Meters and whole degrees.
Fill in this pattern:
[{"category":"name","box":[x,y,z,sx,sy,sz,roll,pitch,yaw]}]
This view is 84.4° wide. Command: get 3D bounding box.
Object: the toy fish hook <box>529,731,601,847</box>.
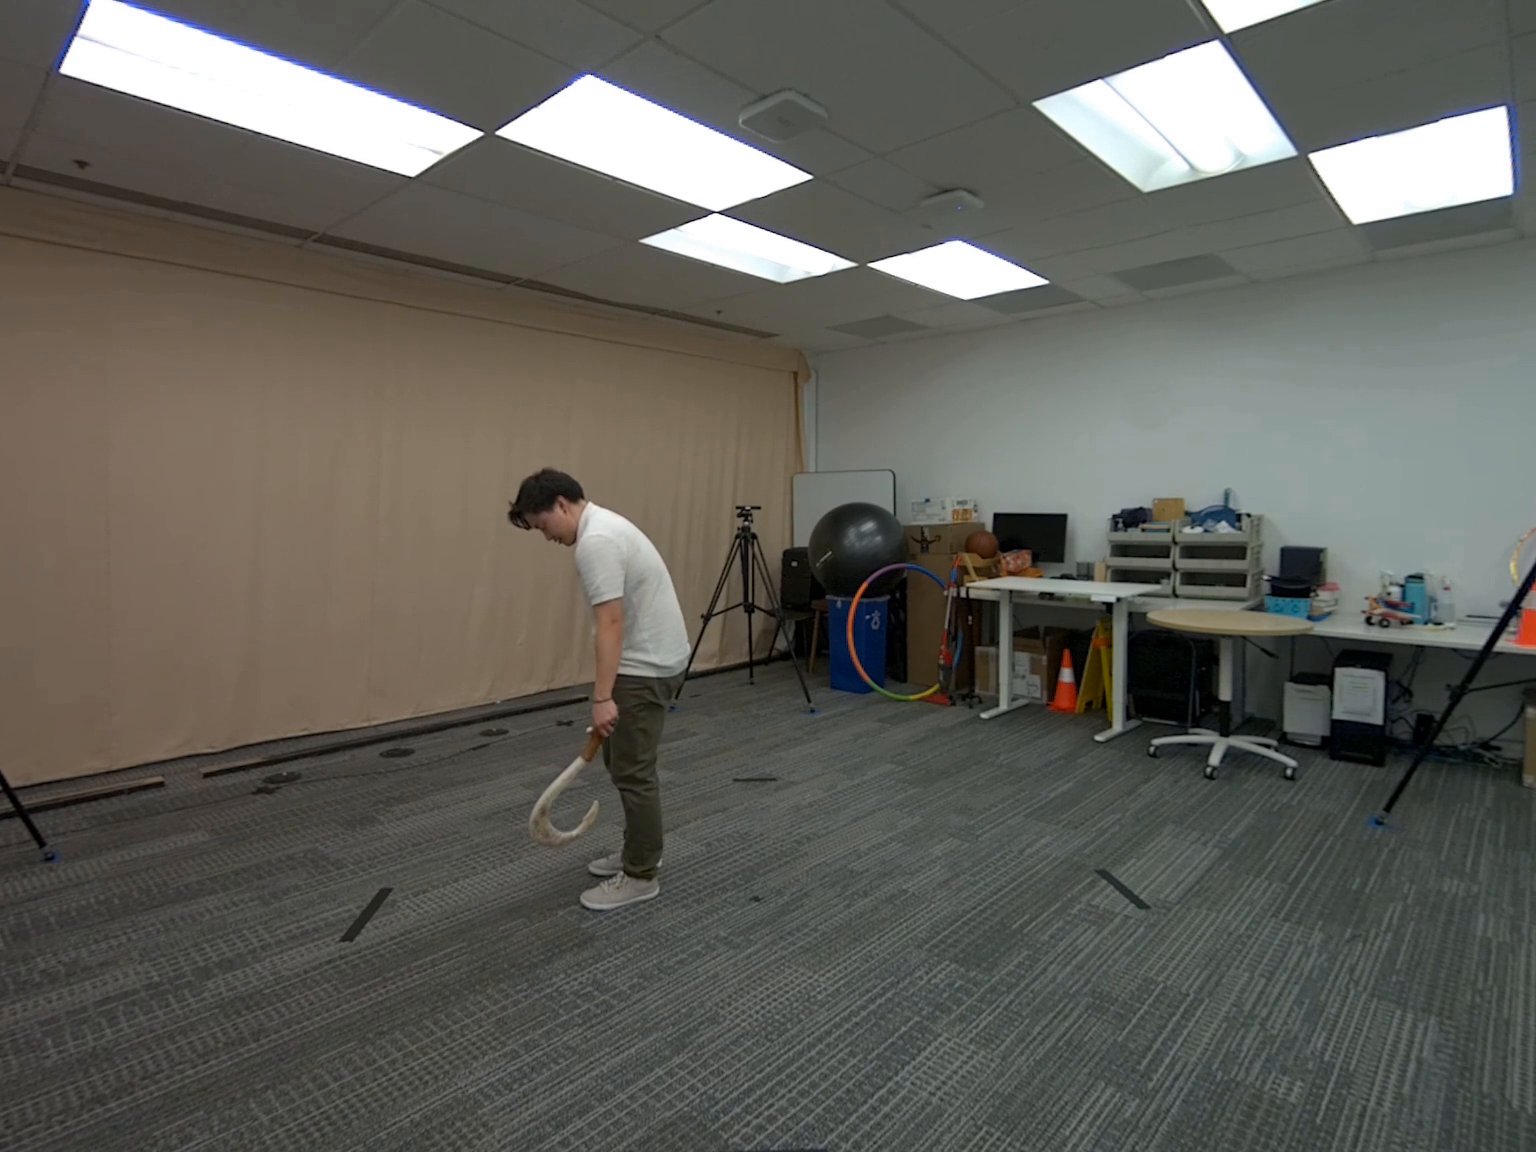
[{"category":"toy fish hook","box":[-0.595,0.661,2.761,0.217,0.506,0.050,37,-8,-37]}]
